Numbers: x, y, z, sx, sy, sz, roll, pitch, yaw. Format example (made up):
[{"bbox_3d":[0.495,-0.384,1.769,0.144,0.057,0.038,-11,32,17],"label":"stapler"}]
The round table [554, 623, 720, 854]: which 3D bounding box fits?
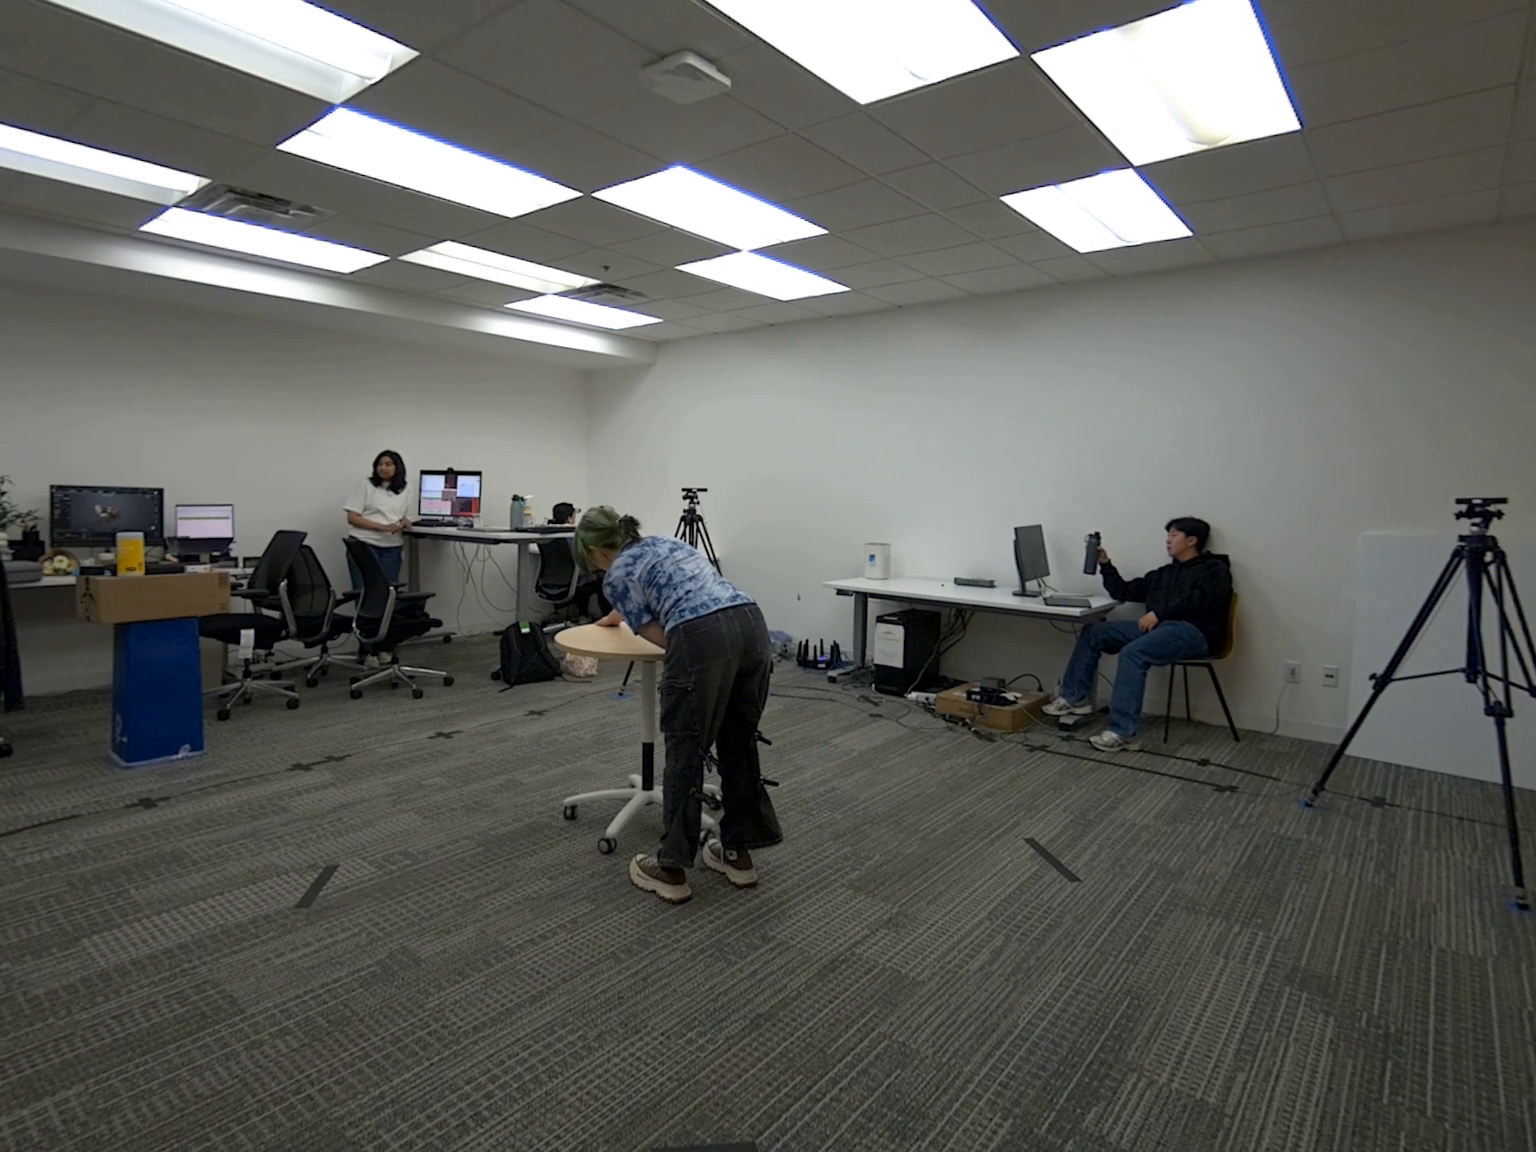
[{"bbox_3d":[-0.512,0.639,3.520,0.763,0.791,0.768,1,4,-2],"label":"round table"}]
